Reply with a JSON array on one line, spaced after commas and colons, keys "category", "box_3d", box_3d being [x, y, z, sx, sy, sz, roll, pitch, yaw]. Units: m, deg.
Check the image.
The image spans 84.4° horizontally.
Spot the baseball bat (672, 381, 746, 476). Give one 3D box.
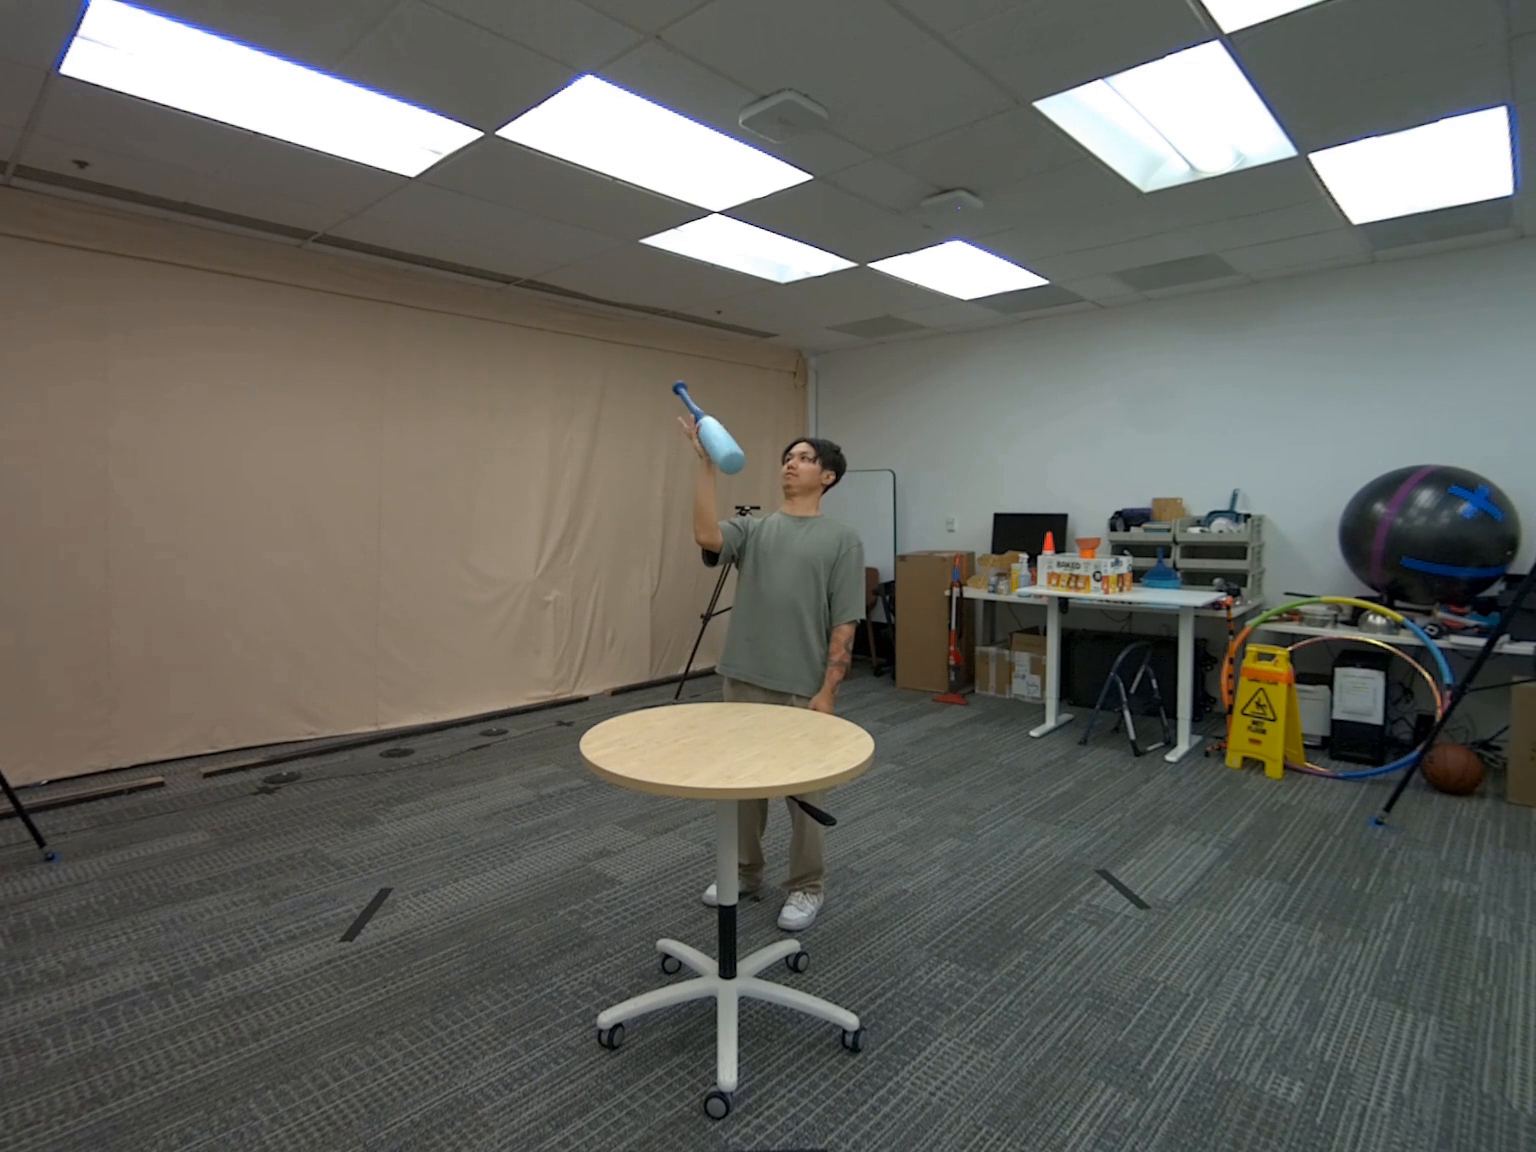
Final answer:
[{"category": "baseball bat", "box_3d": [-0.206, -0.498, 2.706, 0.087, 0.088, 0.561, -2, 36, -25]}]
